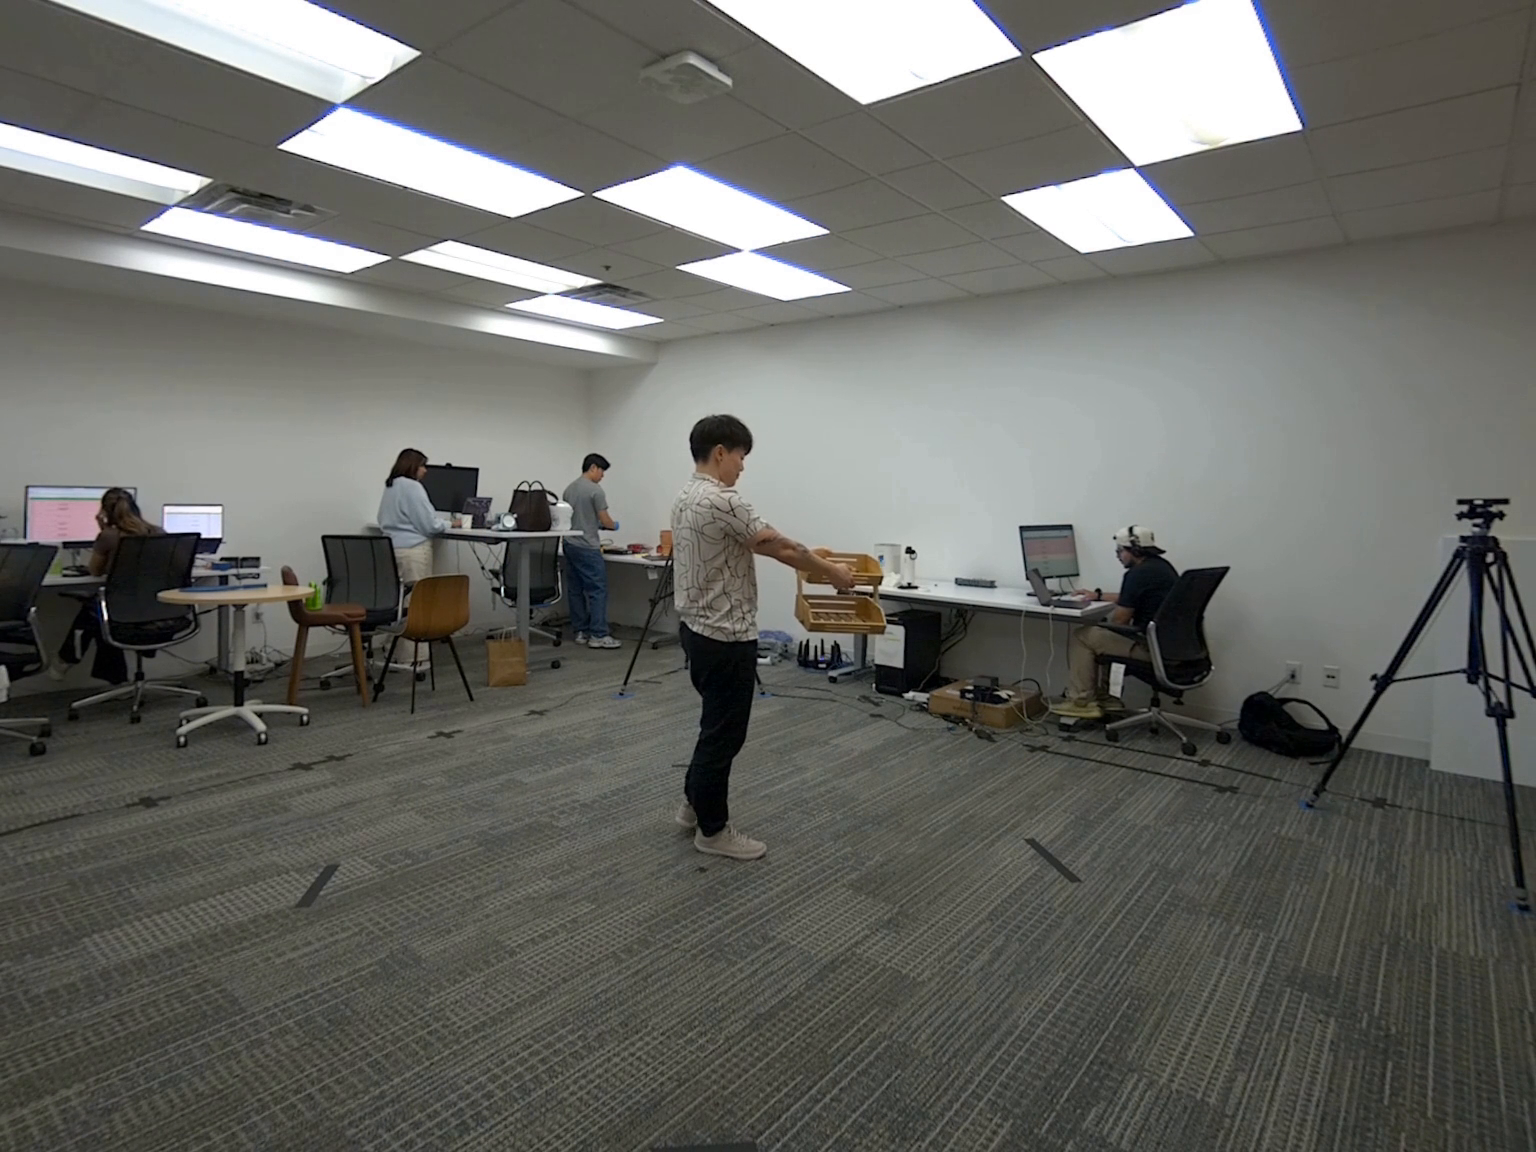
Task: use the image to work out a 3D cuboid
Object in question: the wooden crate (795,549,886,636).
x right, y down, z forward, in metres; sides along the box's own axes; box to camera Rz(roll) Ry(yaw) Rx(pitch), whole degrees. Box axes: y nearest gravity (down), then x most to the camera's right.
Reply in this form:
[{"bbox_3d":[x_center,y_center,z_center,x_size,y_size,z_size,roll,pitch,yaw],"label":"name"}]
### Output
[{"bbox_3d":[0.278,0.061,3.336,0.321,0.270,0.309,3,12,-11],"label":"wooden crate"}]
